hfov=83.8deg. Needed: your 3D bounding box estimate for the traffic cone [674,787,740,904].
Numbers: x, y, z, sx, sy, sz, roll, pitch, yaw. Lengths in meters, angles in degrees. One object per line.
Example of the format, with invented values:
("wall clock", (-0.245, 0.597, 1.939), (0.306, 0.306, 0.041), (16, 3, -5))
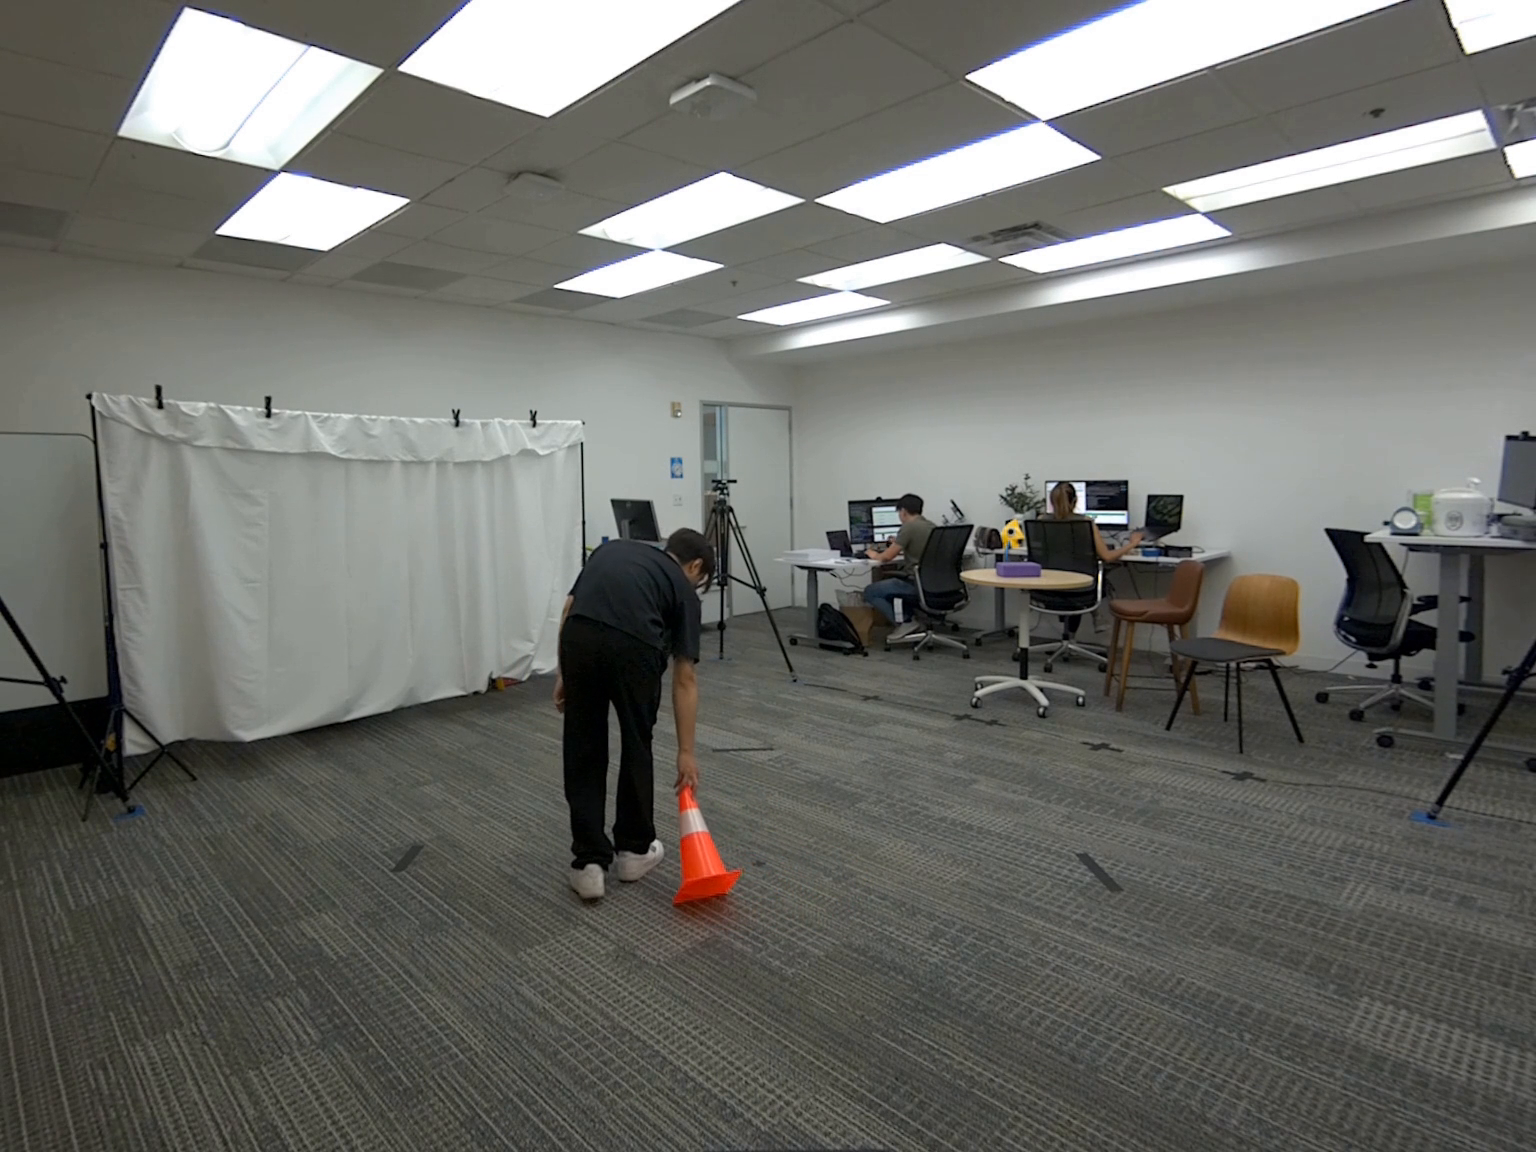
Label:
("traffic cone", (-0.255, 0.870, 2.901), (0.199, 0.397, 0.202), (-2, -39, -22))
